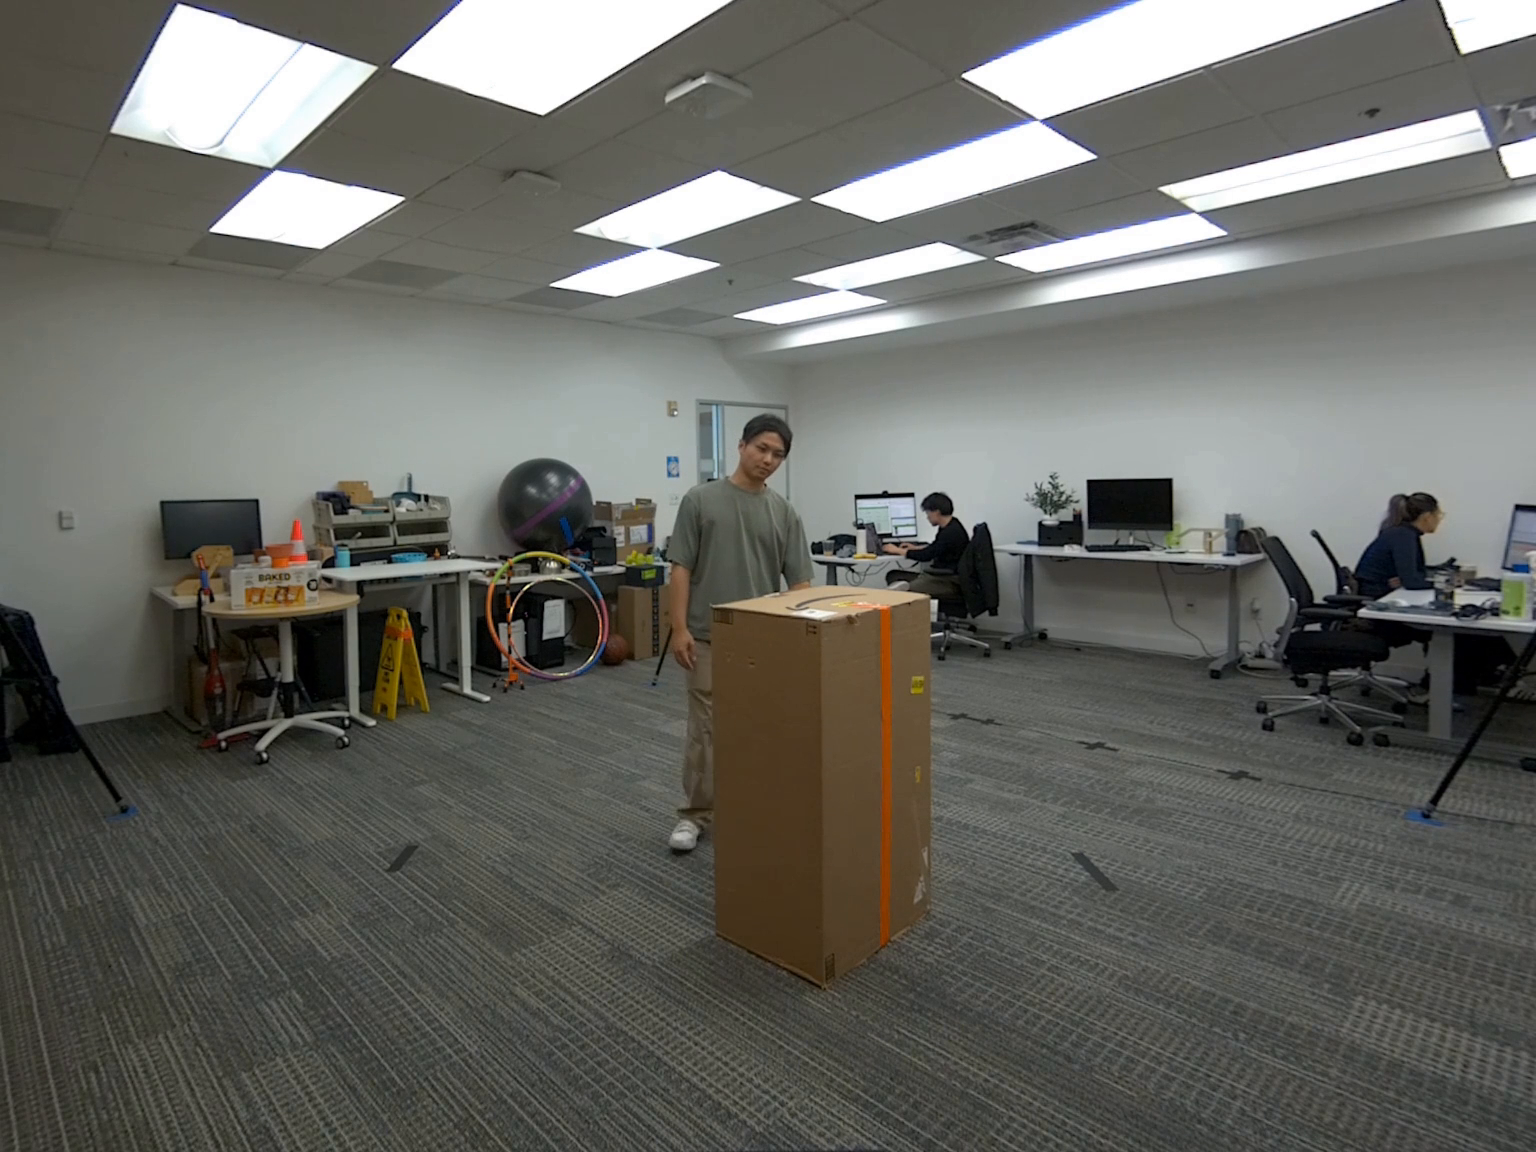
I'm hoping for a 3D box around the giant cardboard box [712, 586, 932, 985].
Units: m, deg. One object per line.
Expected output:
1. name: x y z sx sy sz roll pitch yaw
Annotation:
1. giant cardboard box: 0.185 0.584 2.648 0.439 1.022 0.562 3 6 41
